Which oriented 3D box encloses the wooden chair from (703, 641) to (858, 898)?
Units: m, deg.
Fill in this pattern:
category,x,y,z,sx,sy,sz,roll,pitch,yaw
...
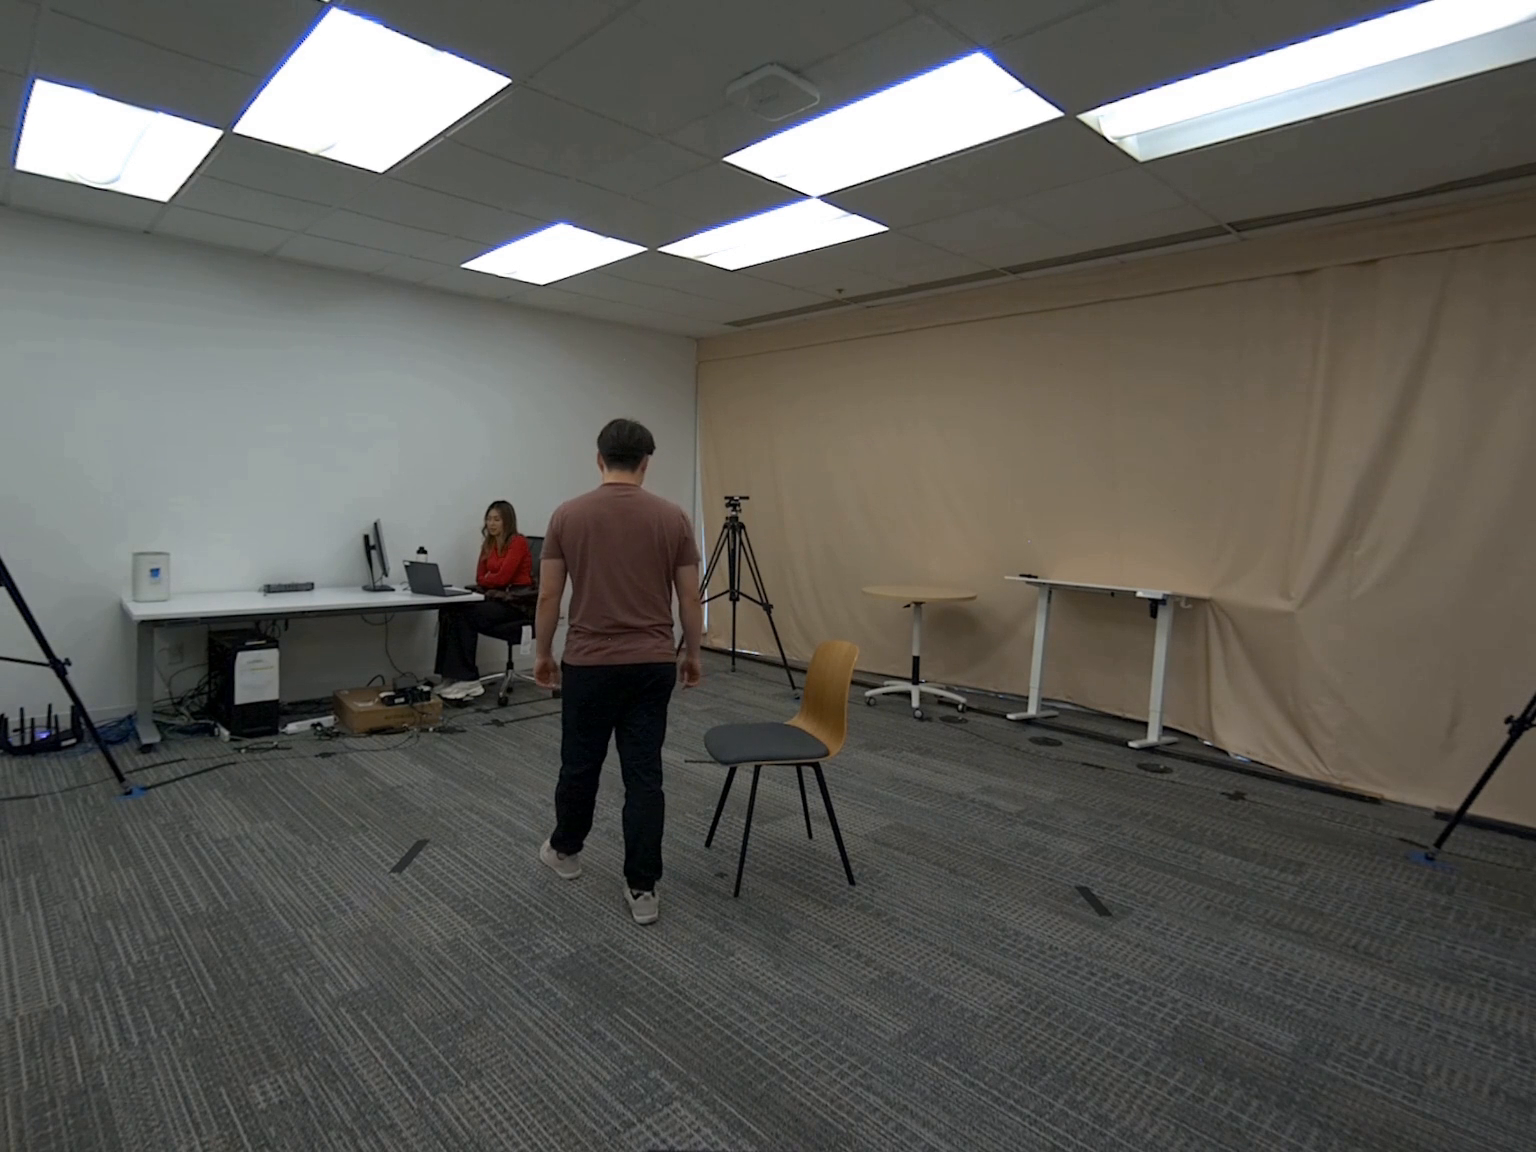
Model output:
category,x,y,z,sx,sy,sz,roll,pitch,yaw
wooden chair,0.036,0.678,3.165,0.516,0.876,0.485,4,3,-17
